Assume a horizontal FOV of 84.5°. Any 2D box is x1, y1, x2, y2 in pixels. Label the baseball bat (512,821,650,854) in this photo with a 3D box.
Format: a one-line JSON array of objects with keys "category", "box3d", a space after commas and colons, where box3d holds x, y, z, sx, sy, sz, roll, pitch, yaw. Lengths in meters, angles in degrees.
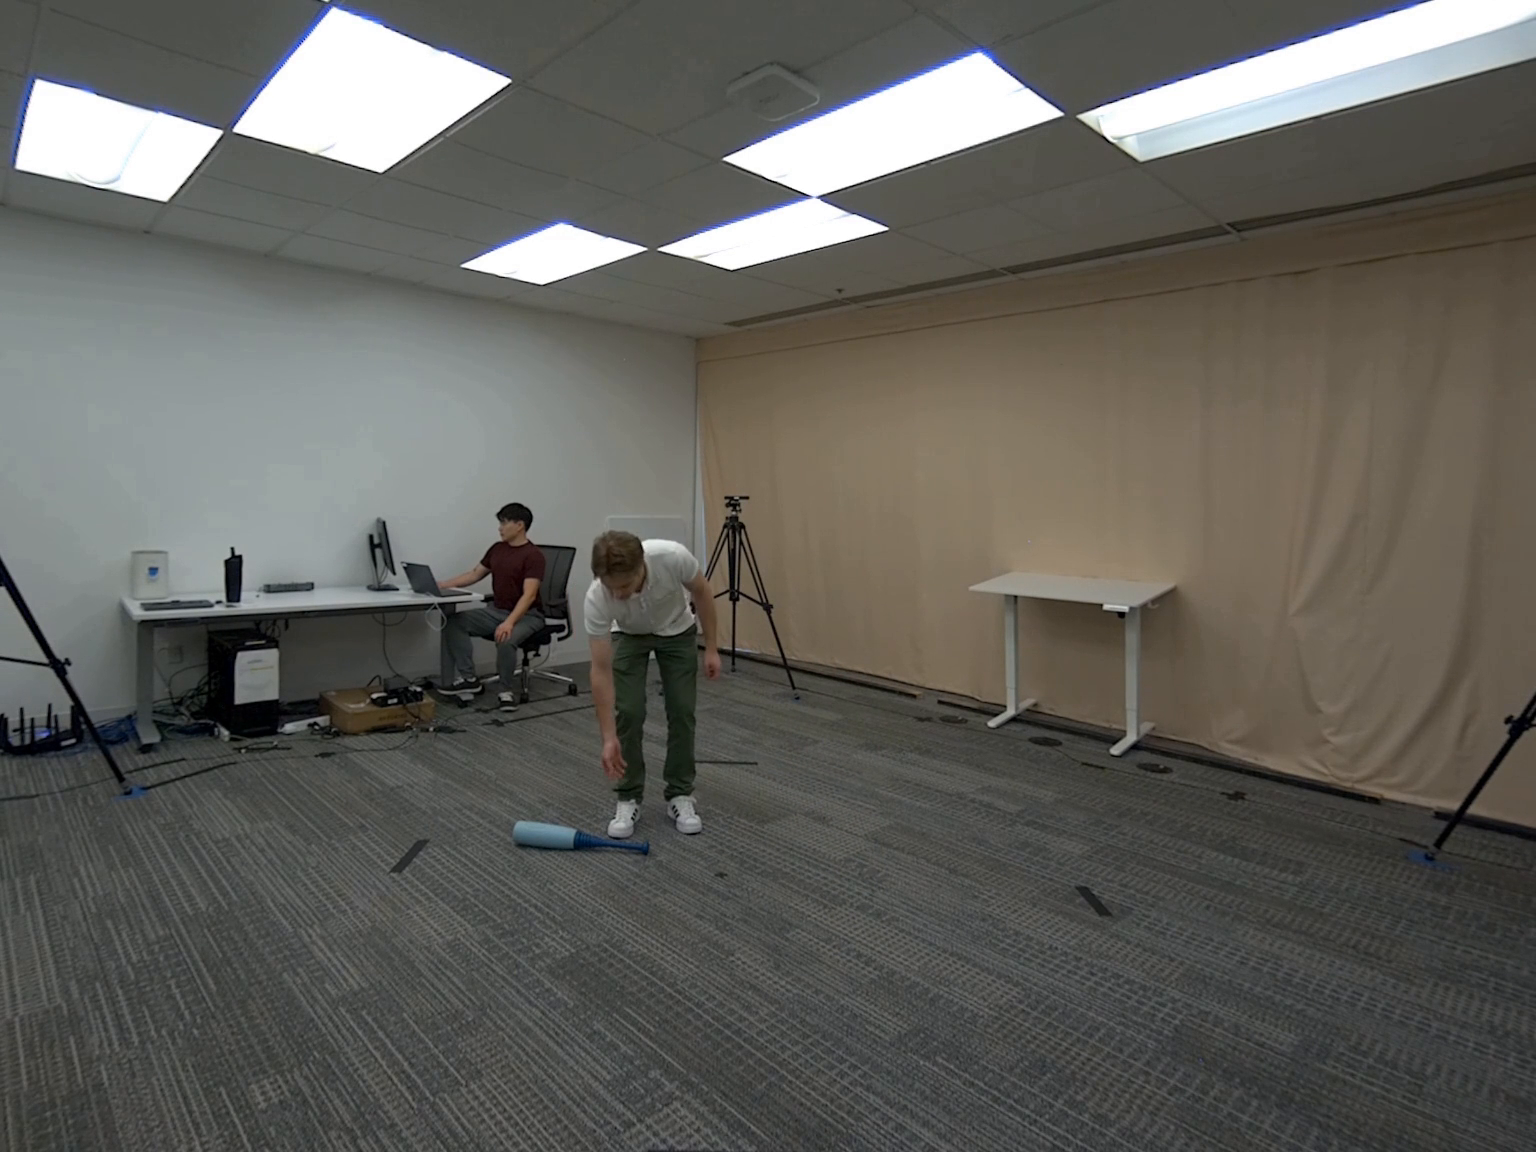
[{"category": "baseball bat", "box3d": [-0.736, 1.037, 3.296, 0.546, 0.089, 0.089, 5, 5, 7]}]
